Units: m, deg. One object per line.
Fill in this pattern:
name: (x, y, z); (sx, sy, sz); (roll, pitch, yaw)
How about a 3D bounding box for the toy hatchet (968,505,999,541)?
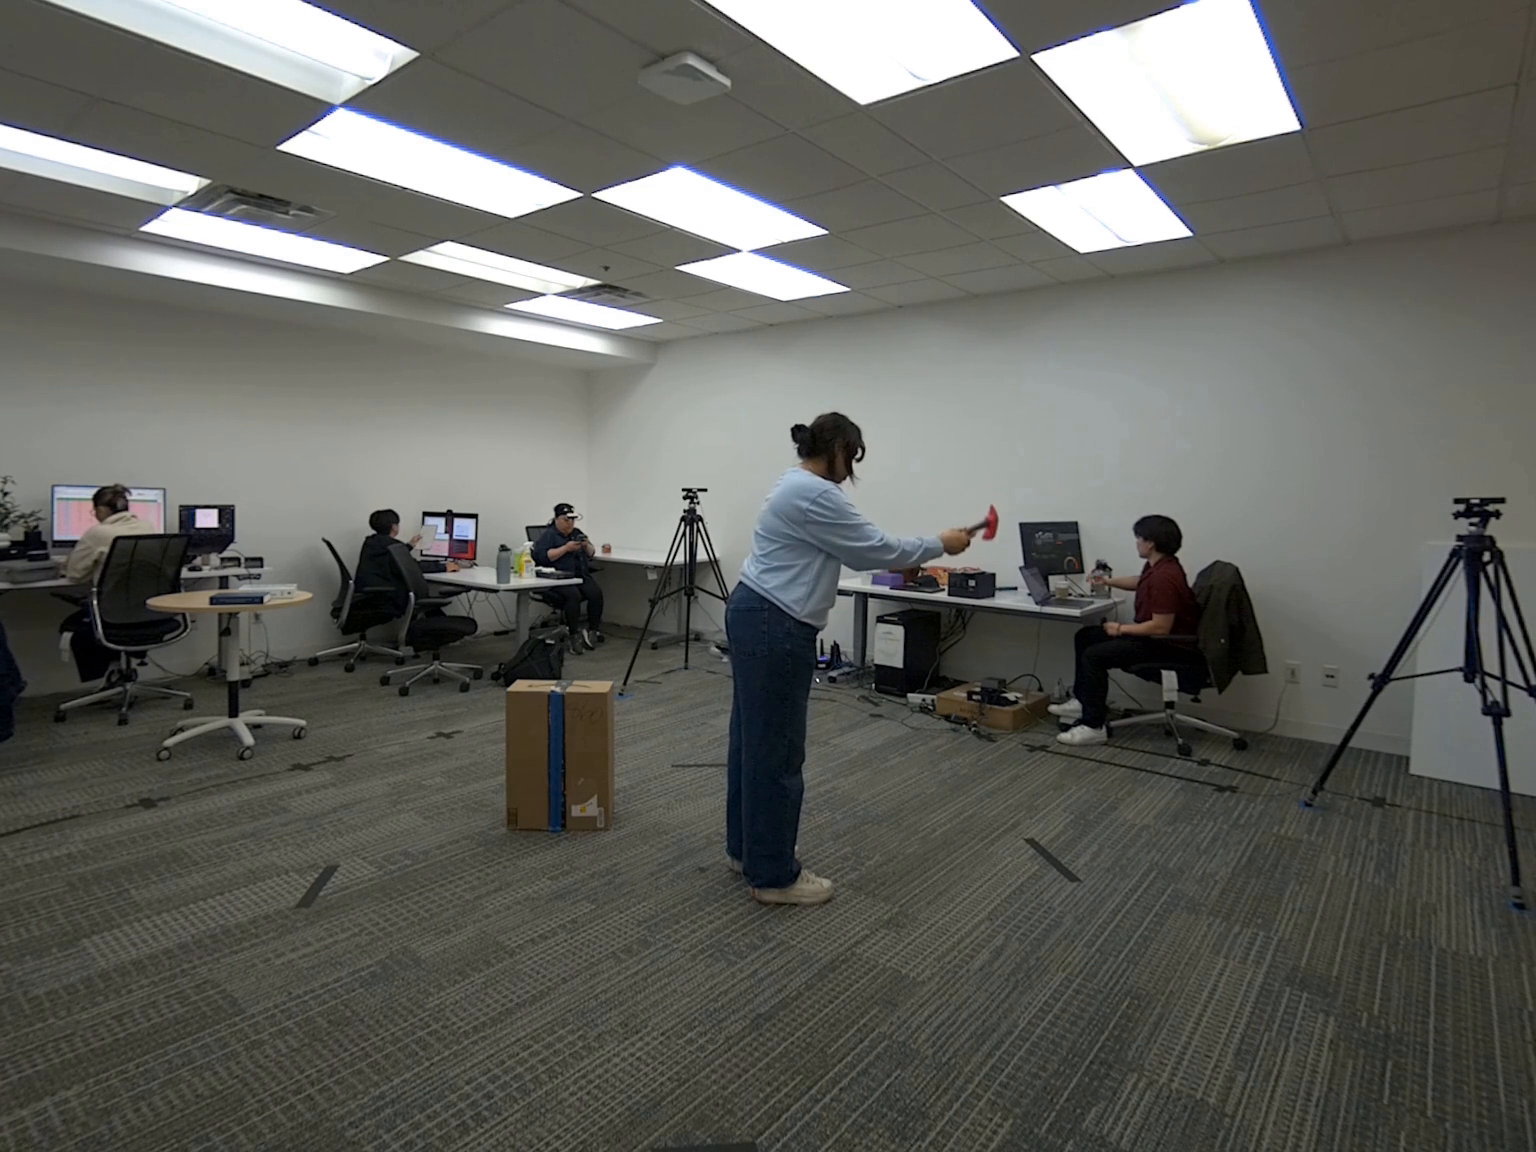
toy hatchet: (0.710, -0.146, 3.047); (0.268, 0.126, 0.031); (-37, 35, -19)
